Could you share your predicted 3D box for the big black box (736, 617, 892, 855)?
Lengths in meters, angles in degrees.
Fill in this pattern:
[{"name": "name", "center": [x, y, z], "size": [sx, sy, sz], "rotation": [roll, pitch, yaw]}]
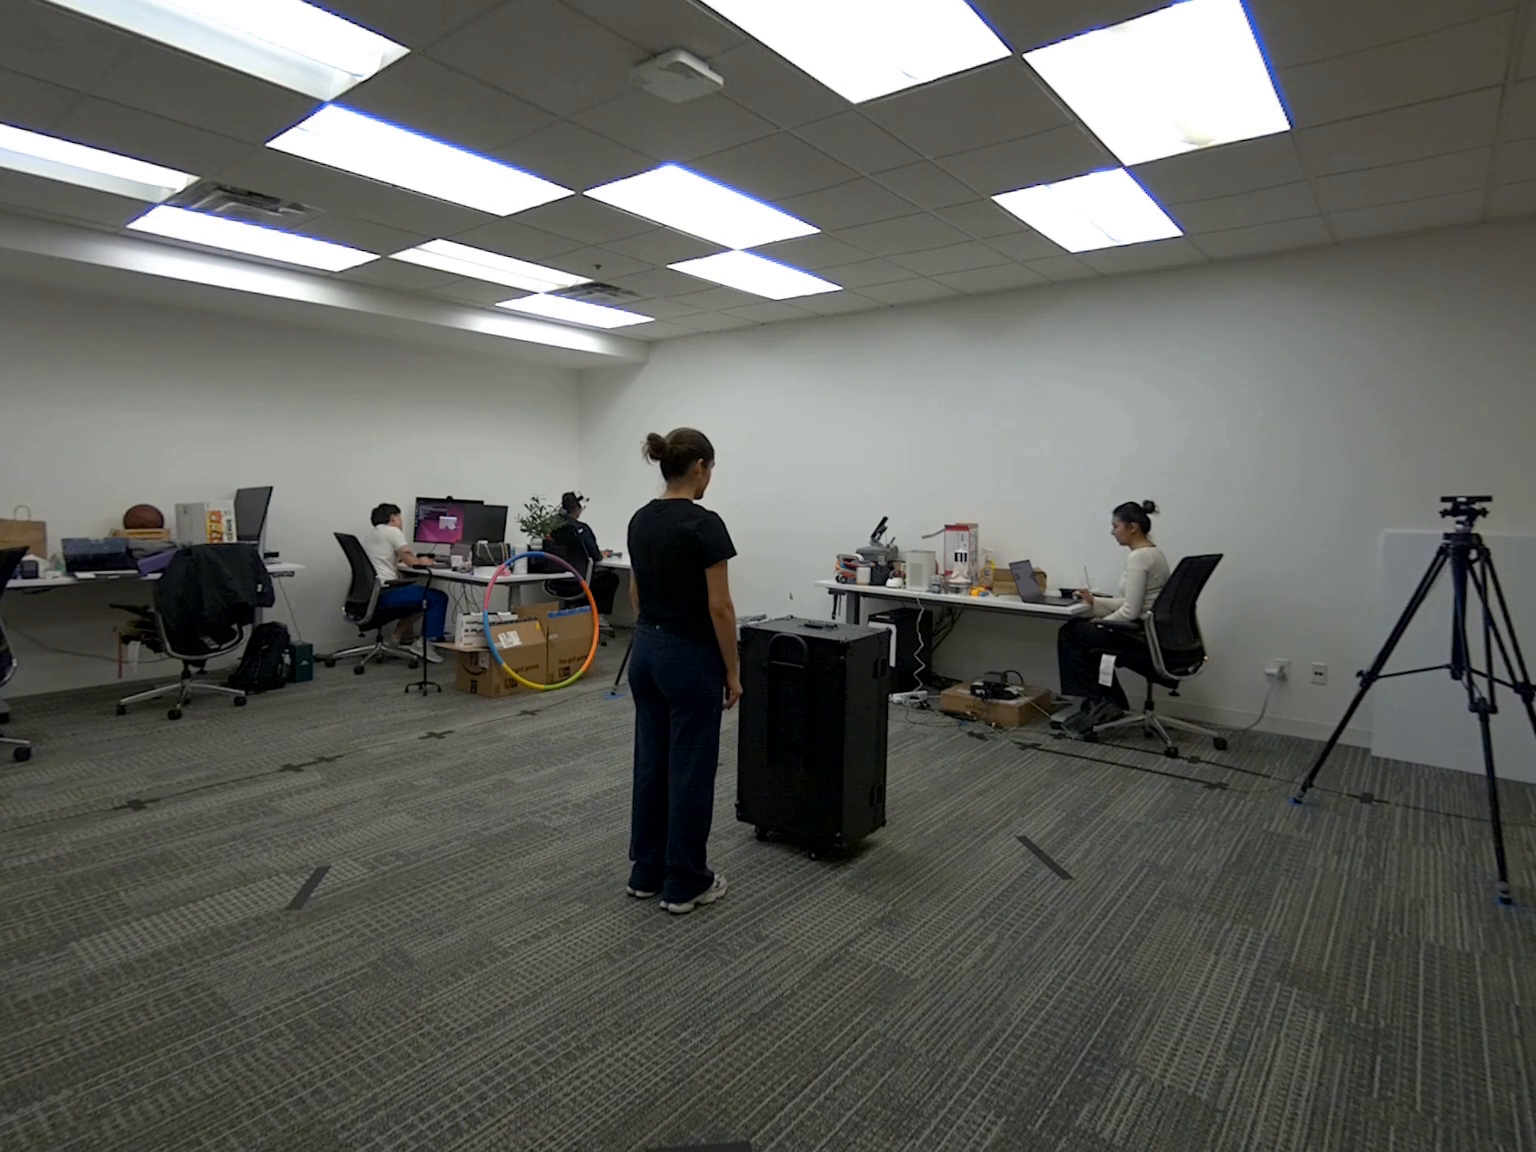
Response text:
[{"name": "big black box", "center": [0.193, 0.621, 3.360], "size": [0.538, 0.858, 0.385], "rotation": [4, 5, 37]}]
